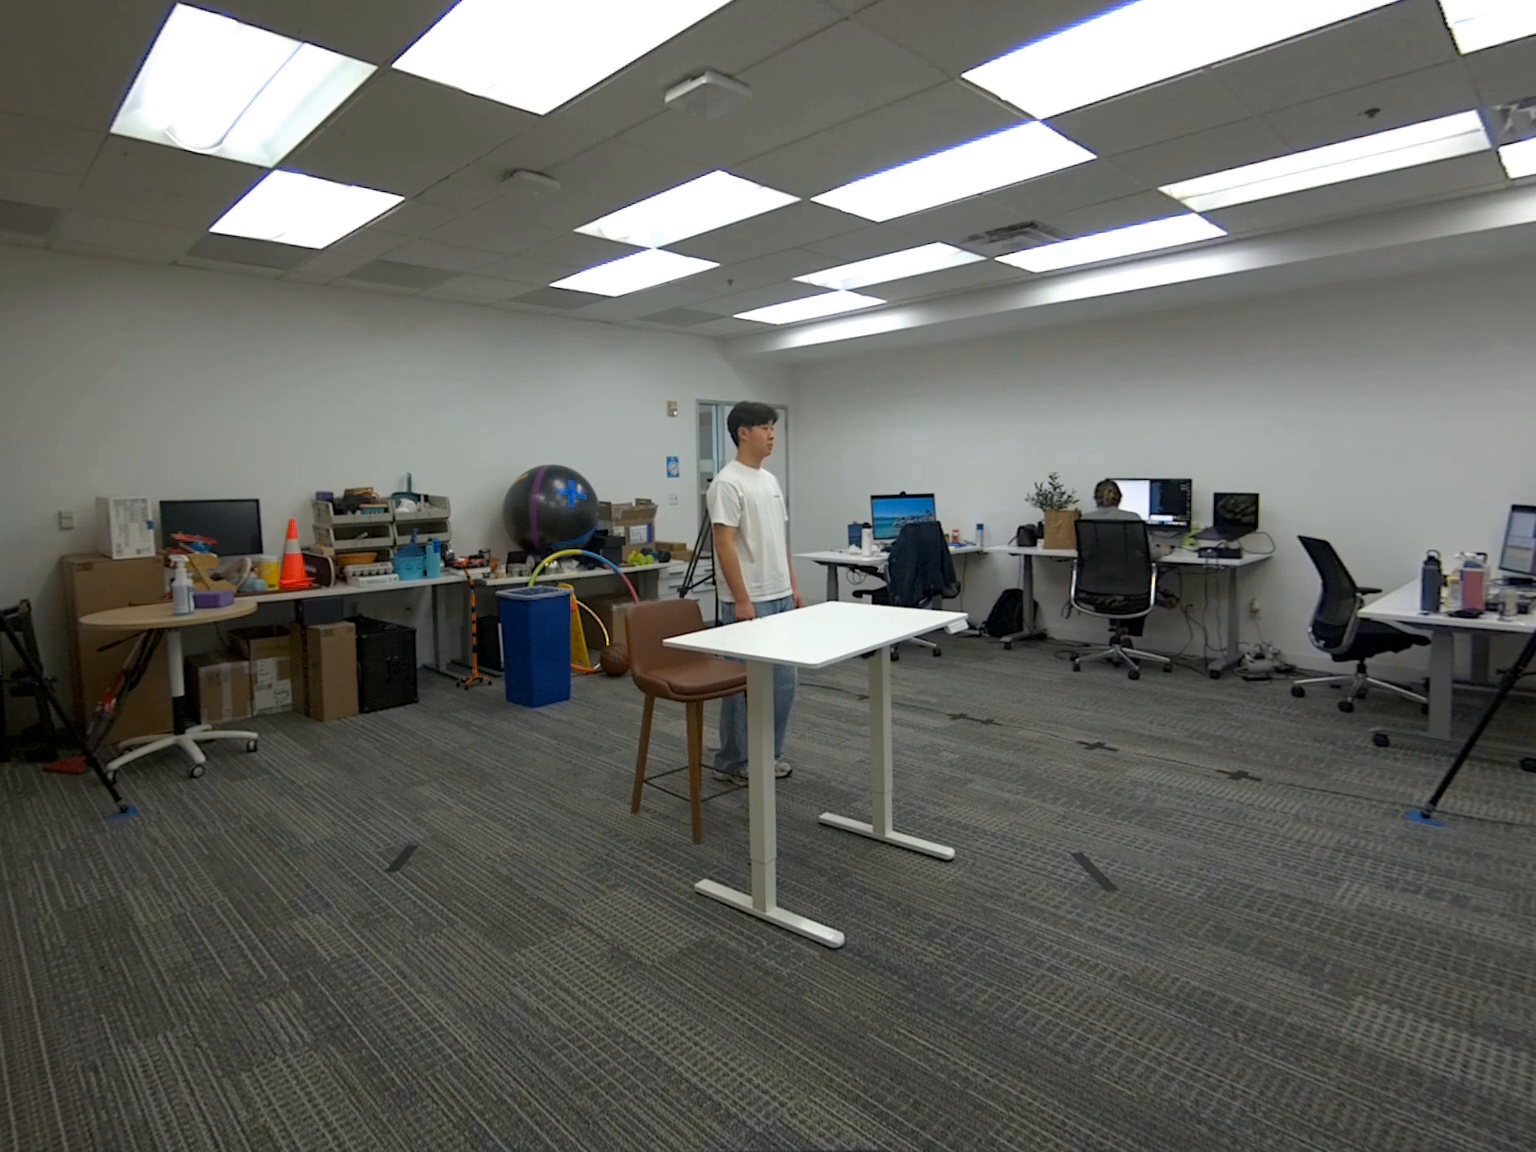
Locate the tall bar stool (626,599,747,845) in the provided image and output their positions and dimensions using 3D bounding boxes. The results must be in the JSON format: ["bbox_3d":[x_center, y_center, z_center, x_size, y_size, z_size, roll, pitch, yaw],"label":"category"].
[{"bbox_3d":[-0.301,0.563,3.546,0.444,0.888,0.481,-4,3,-43],"label":"tall bar stool"}]
